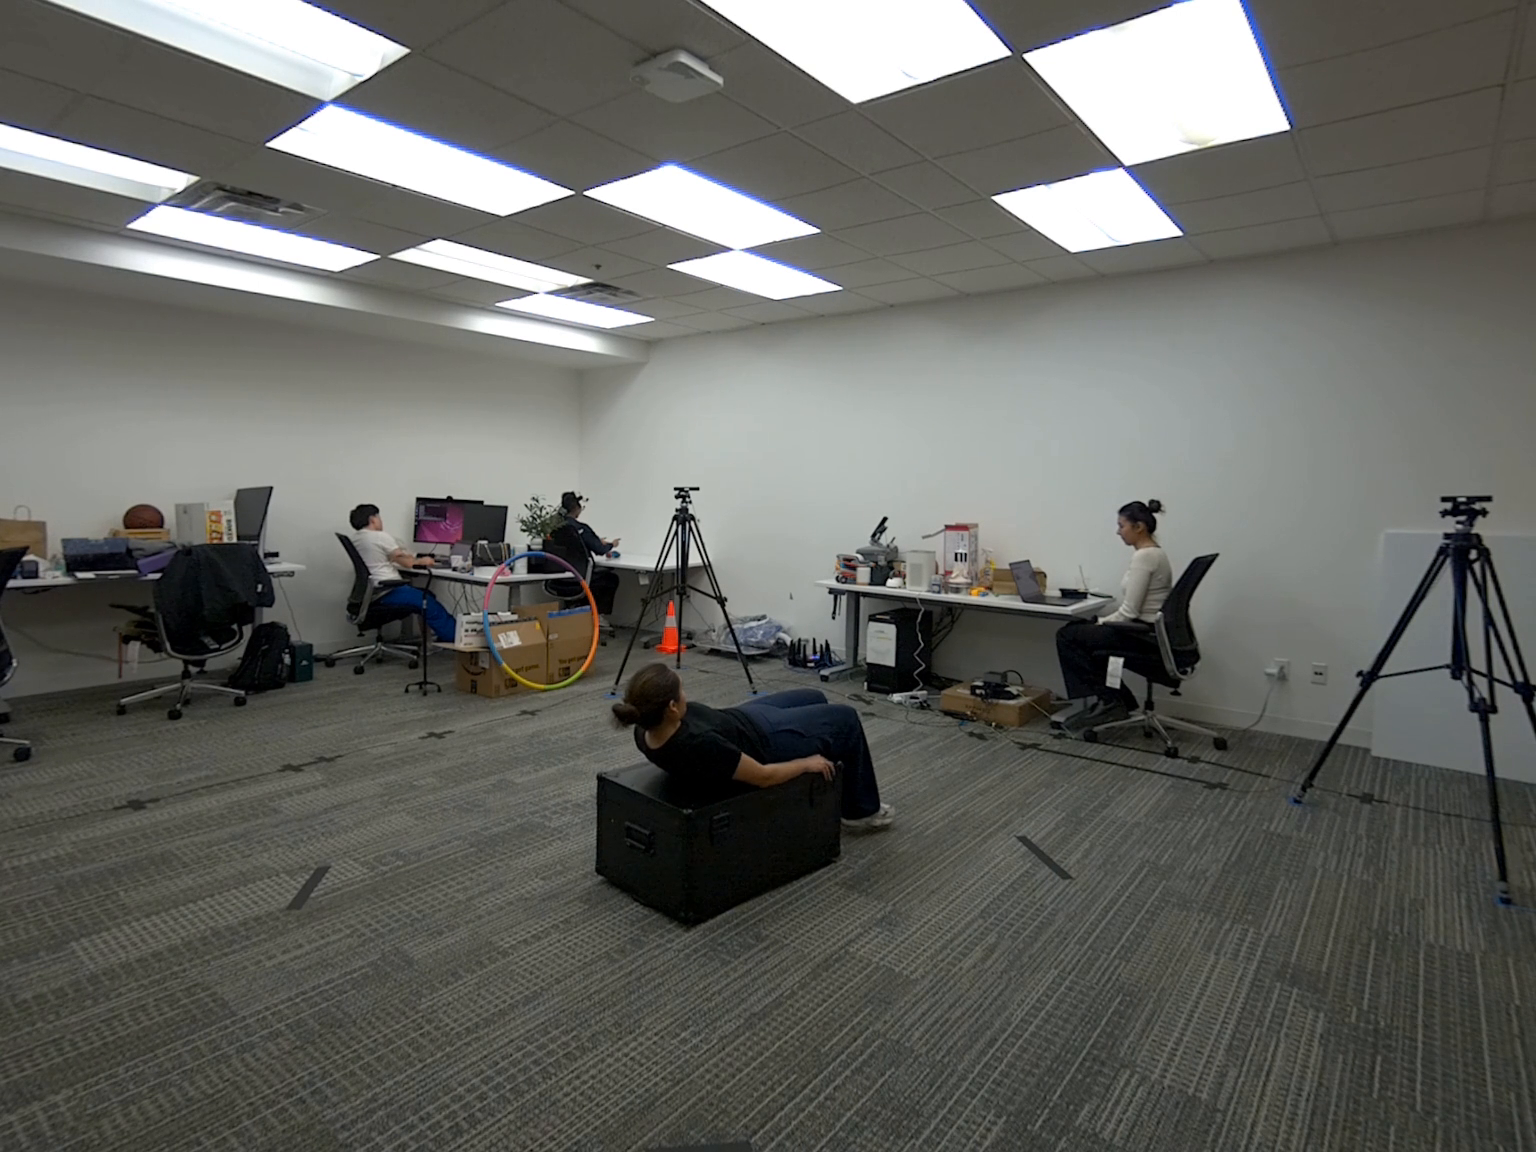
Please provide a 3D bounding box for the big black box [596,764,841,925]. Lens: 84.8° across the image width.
[{"bbox_3d":[-0.178,0.885,3.079,0.835,0.395,0.539,-2,5,-44],"label":"big black box"}]
